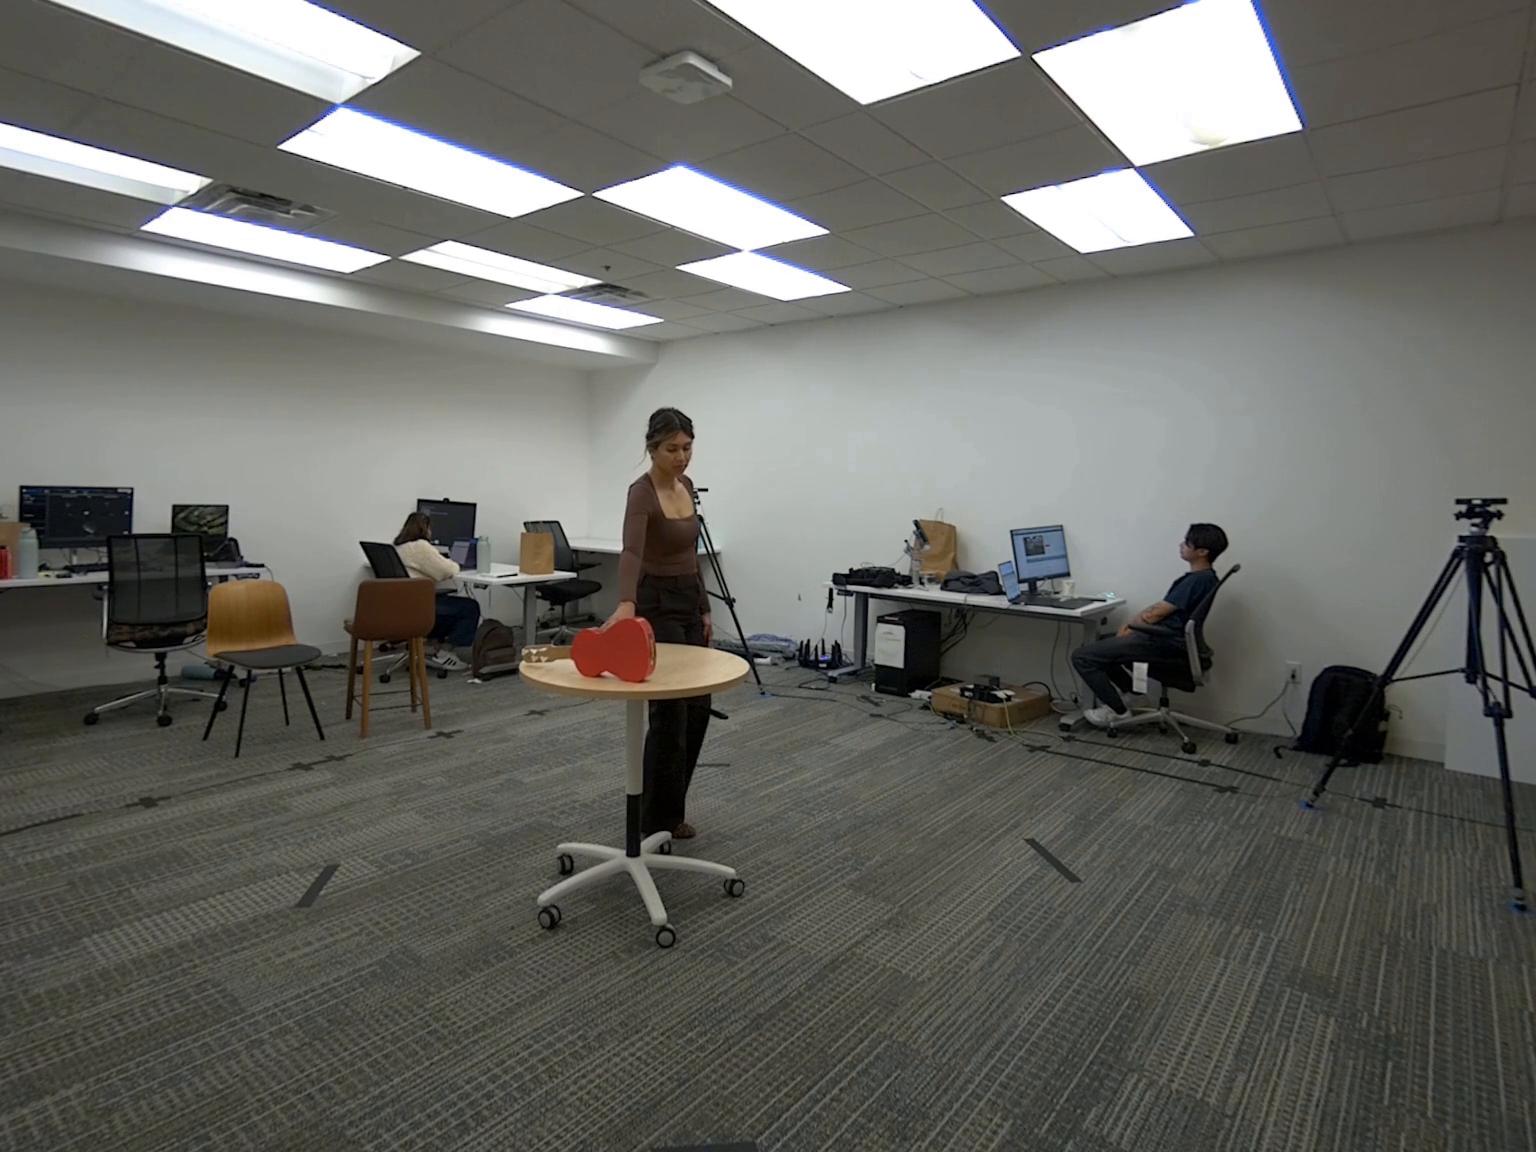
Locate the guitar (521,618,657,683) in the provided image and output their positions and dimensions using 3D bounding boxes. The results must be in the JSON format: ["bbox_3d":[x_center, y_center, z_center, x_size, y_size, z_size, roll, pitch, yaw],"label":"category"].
[{"bbox_3d":[-0.591,0.266,2.690,0.506,0.194,0.069,-15,-4,23],"label":"guitar"}]
